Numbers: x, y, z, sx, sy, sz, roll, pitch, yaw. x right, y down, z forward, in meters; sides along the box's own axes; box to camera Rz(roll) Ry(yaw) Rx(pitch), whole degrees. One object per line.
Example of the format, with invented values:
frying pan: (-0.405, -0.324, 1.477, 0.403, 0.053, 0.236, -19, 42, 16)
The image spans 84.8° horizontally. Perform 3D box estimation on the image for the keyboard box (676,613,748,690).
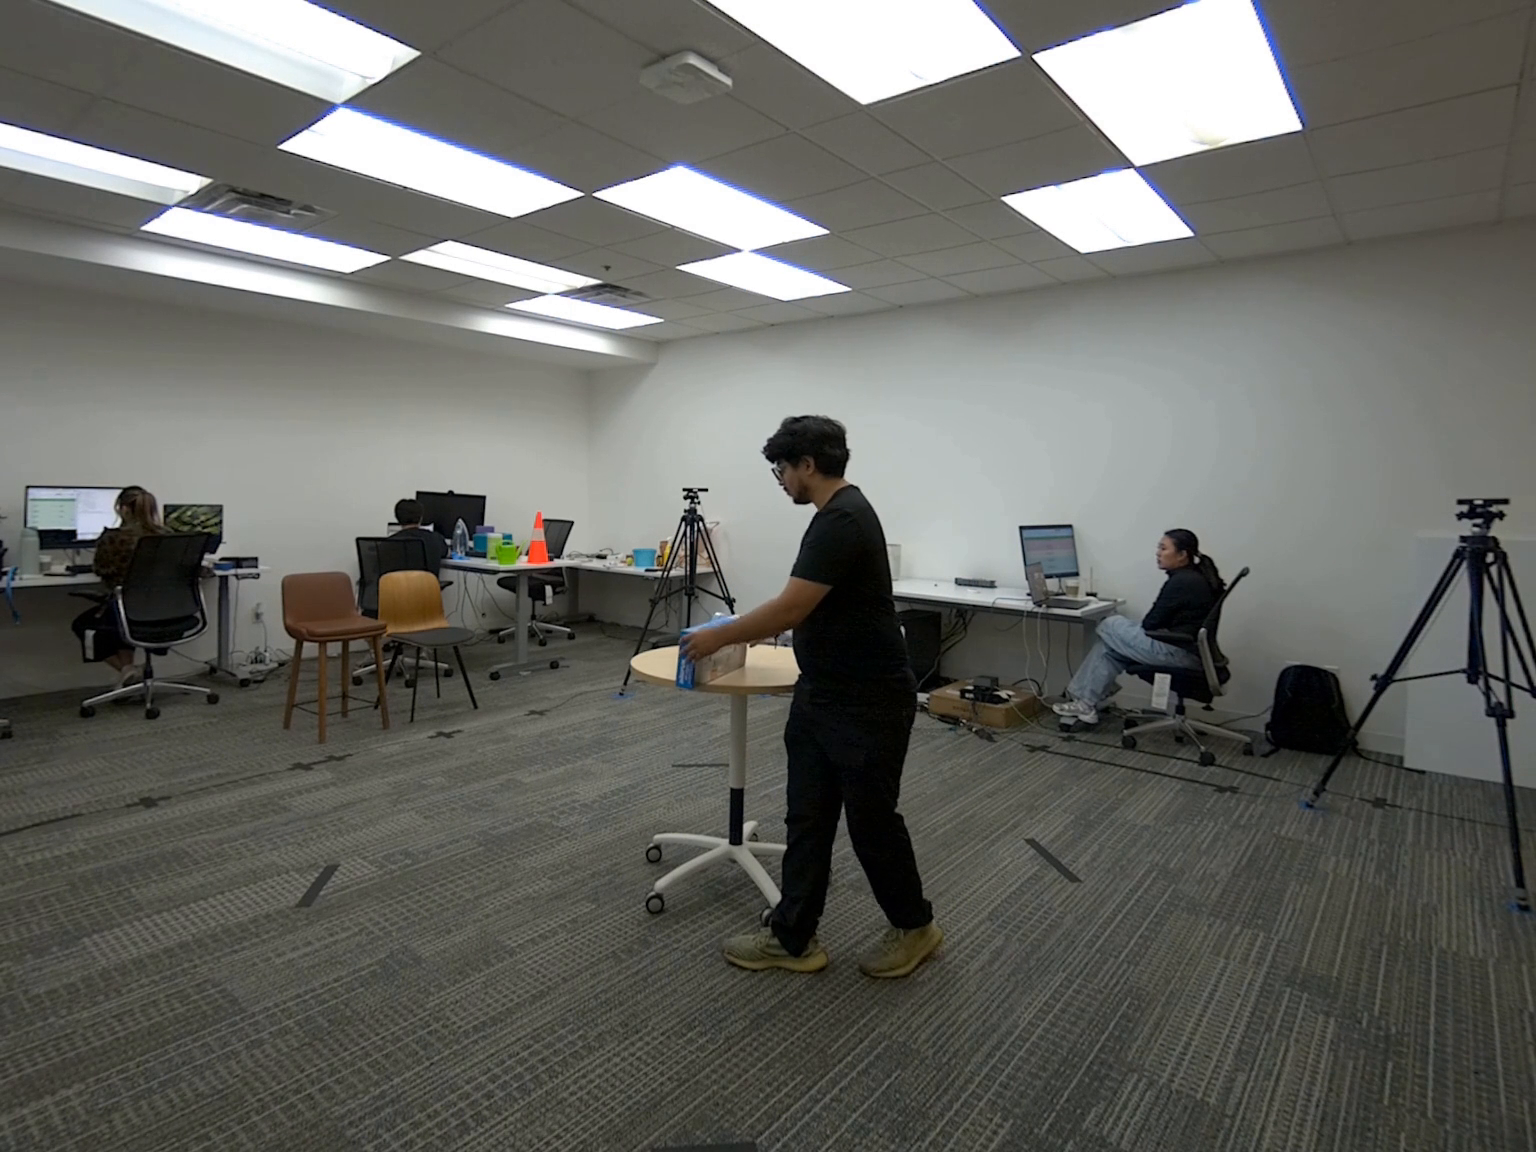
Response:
keyboard box: (-0.179, 0.235, 2.736, 0.060, 0.175, 0.428, 7, 6, 20)
